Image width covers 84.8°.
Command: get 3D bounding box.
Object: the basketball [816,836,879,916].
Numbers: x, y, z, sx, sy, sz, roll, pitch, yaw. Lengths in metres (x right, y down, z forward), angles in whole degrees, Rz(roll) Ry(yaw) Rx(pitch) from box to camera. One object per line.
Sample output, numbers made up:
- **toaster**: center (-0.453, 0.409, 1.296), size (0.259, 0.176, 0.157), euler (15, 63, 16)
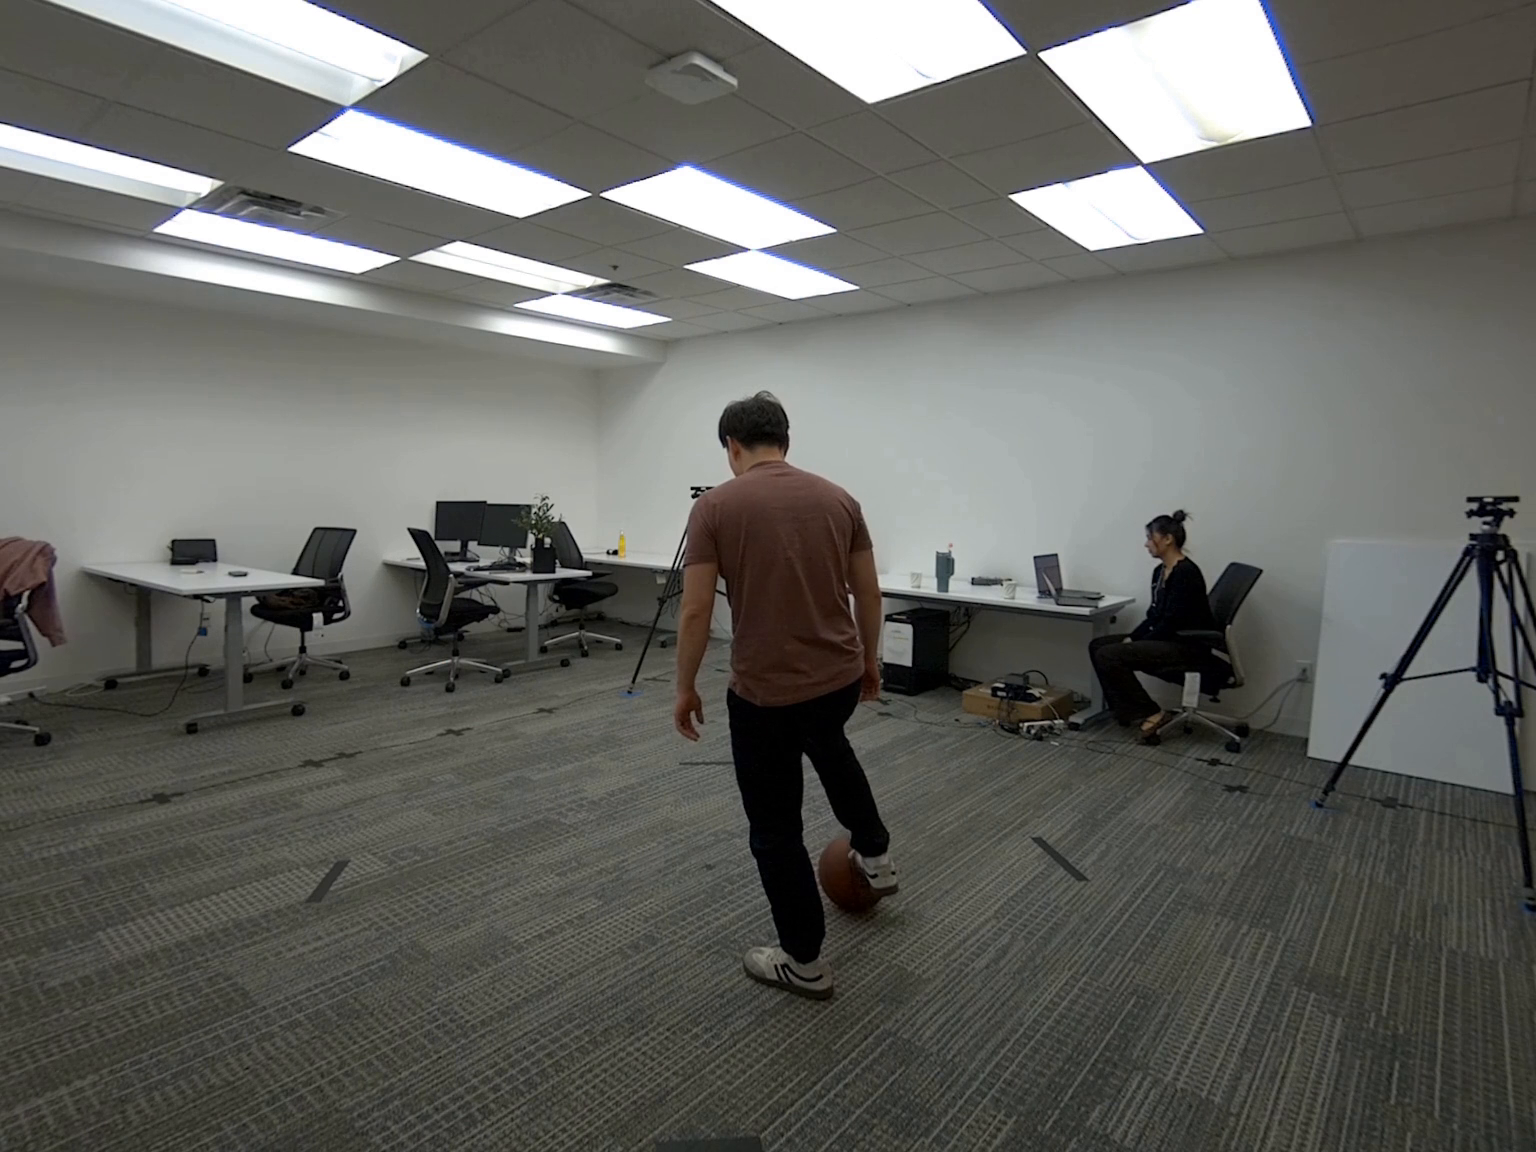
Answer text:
- **basketball**: center (0.275, 0.982, 2.844), size (0.235, 0.235, 0.237), euler (1, 4, -2)
